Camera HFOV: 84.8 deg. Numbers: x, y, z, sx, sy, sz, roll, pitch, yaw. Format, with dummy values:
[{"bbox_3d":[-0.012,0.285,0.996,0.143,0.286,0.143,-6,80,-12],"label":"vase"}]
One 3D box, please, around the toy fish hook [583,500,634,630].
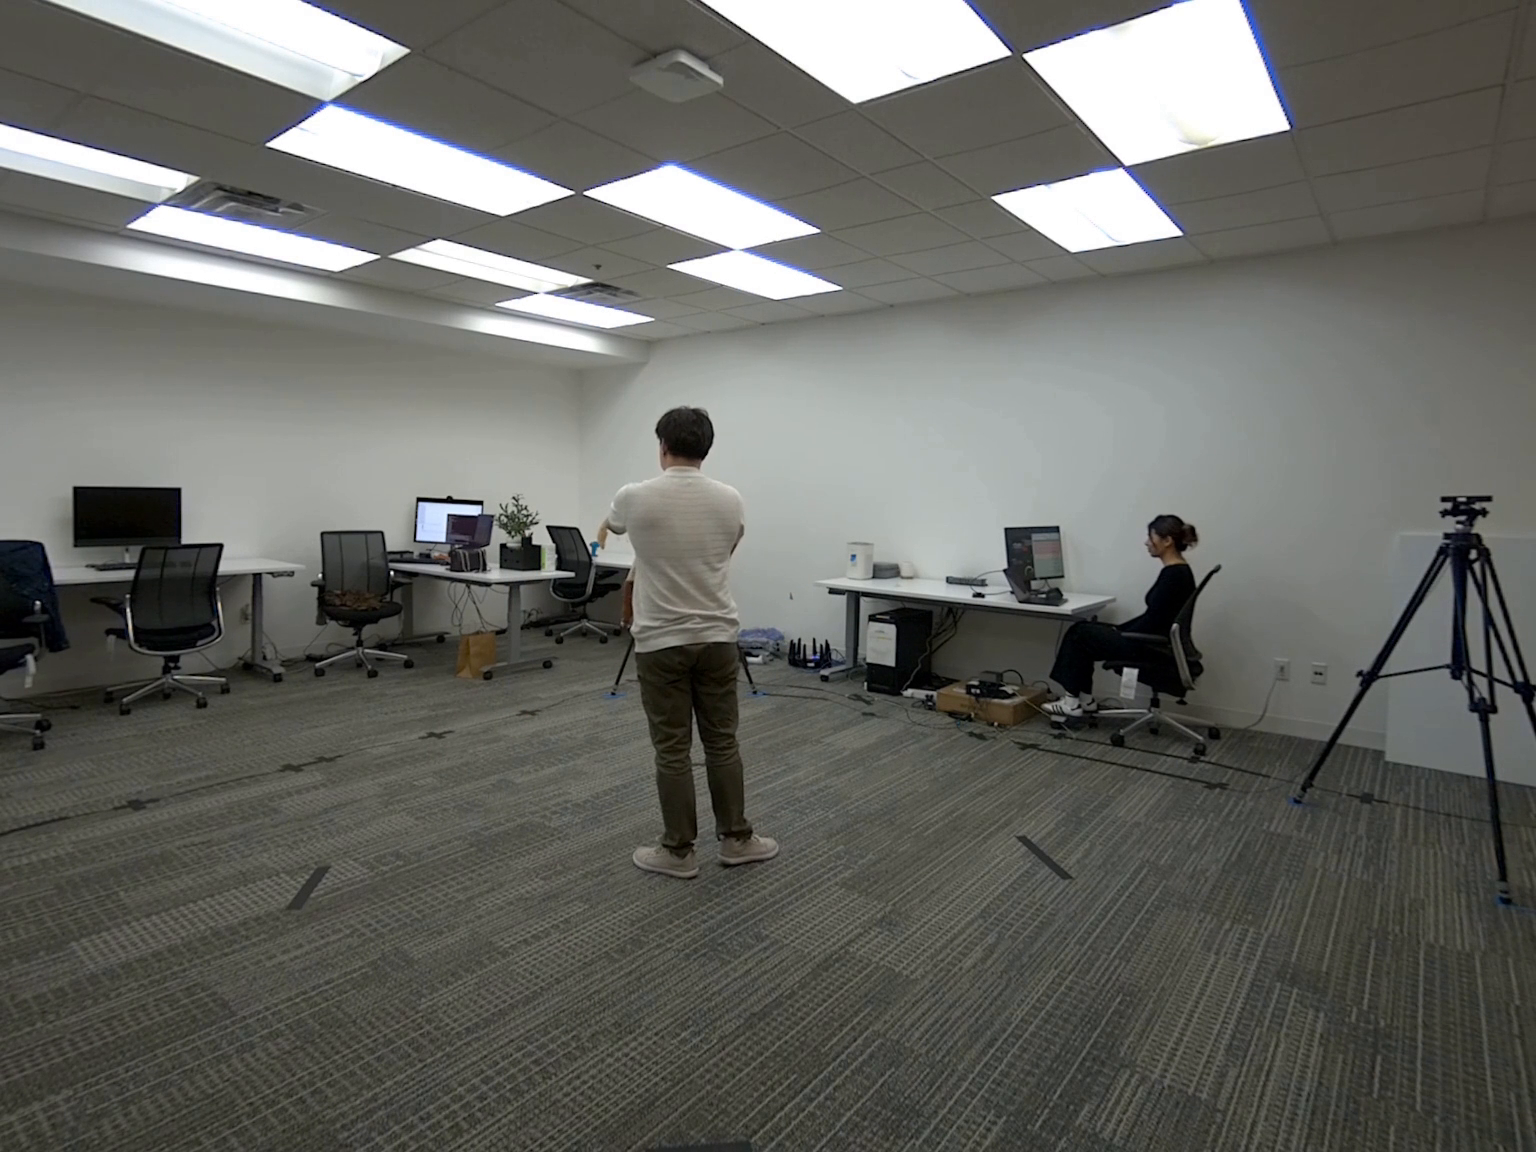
[{"bbox_3d":[-0.610,-0.044,3.469,0.222,0.507,0.049,9,-1,-9],"label":"toy fish hook"}]
